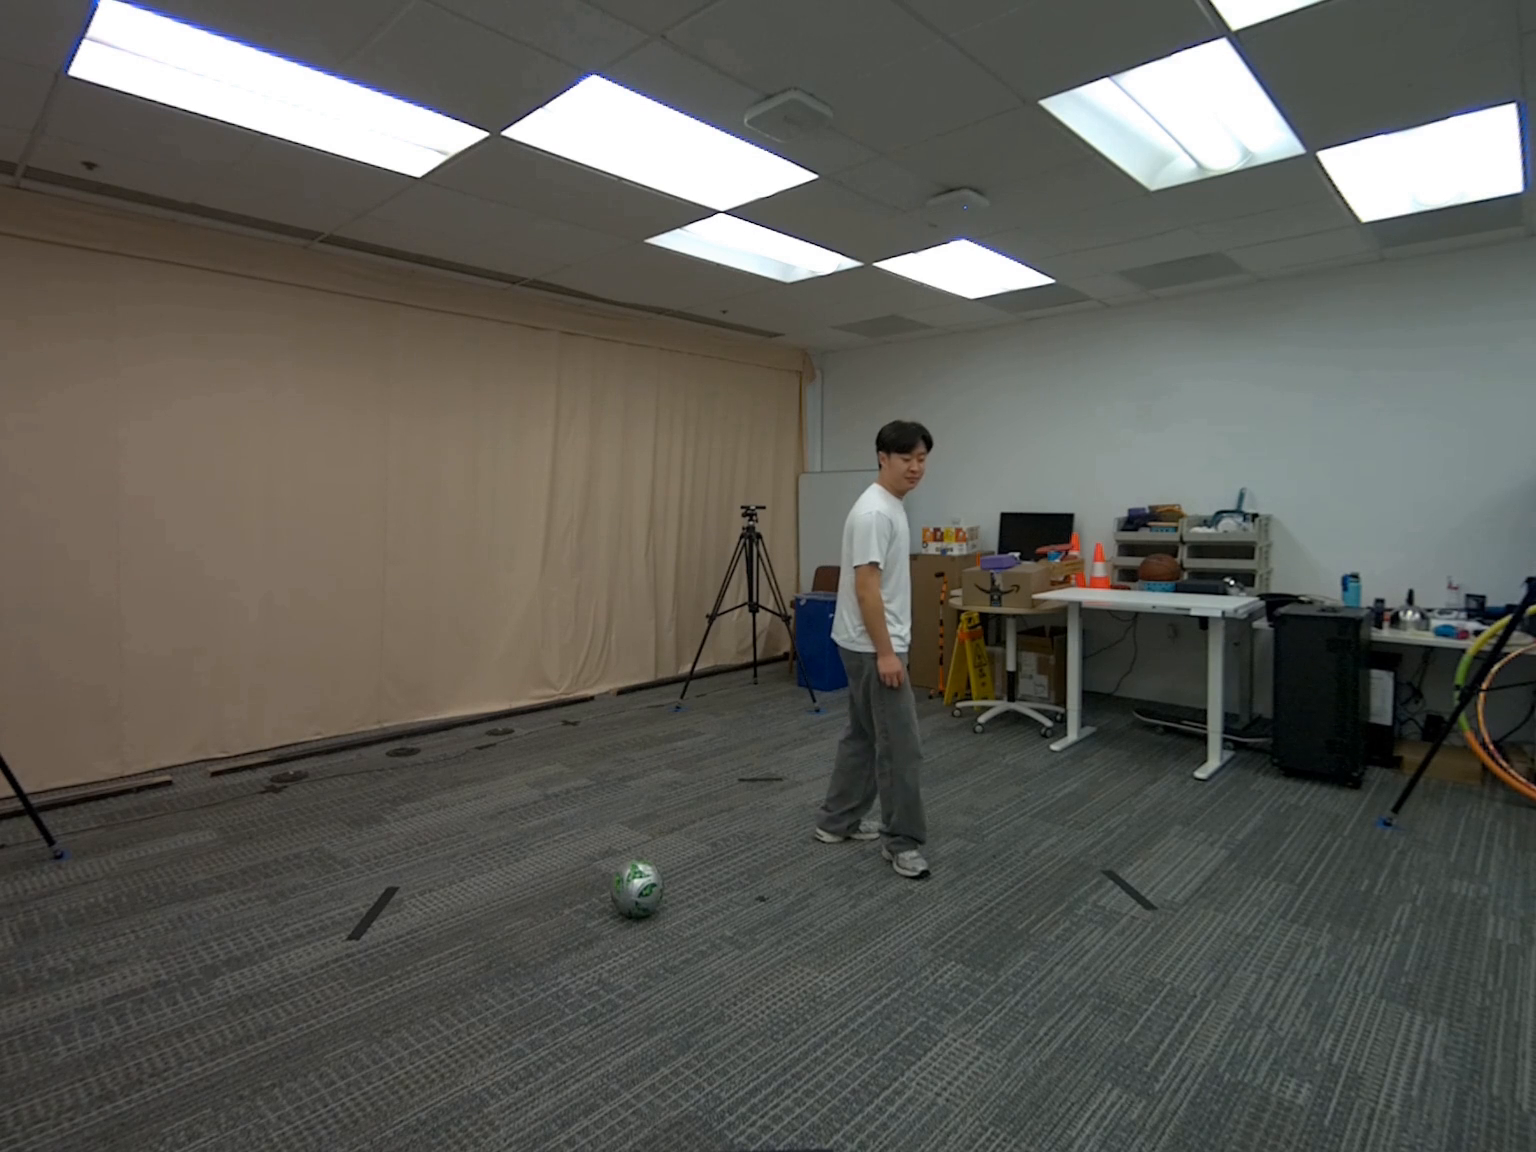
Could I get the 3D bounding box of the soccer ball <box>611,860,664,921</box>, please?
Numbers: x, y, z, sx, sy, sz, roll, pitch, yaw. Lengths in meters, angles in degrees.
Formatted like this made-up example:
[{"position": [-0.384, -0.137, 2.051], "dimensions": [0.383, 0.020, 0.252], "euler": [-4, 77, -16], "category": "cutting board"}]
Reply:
[{"position": [-0.442, 1.065, 2.869], "dimensions": [0.187, 0.187, 0.188], "euler": [0, 4, -2], "category": "soccer ball"}]
